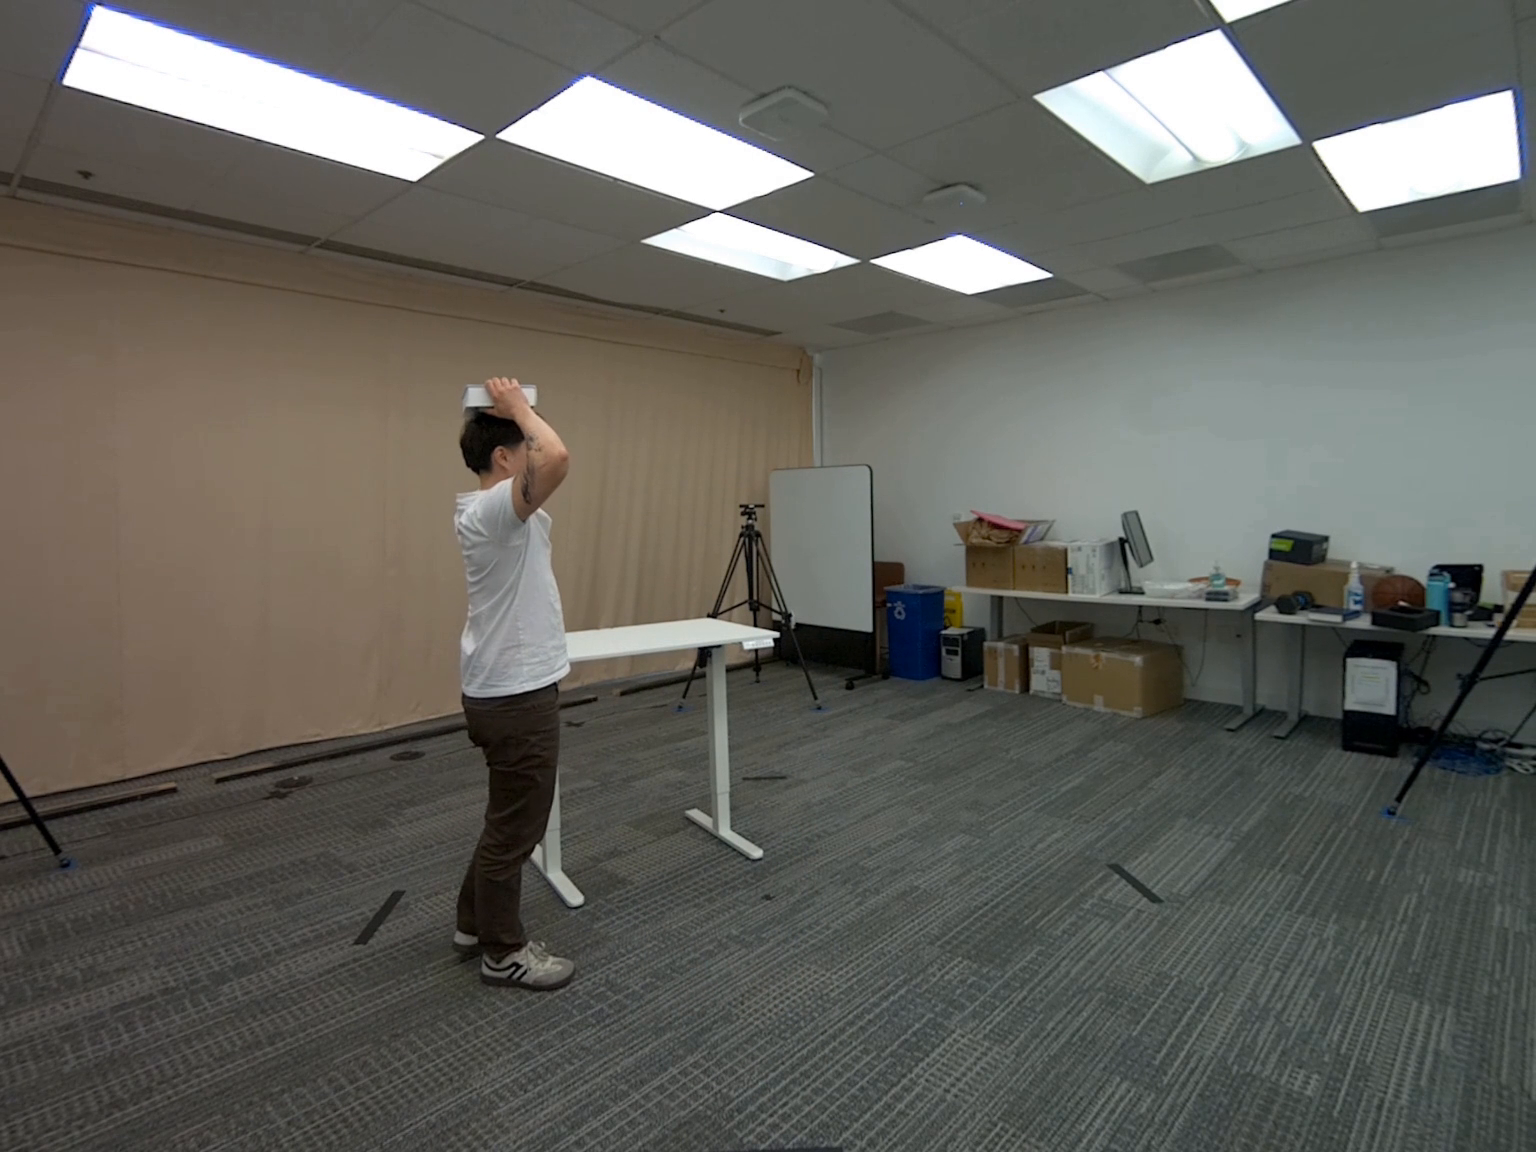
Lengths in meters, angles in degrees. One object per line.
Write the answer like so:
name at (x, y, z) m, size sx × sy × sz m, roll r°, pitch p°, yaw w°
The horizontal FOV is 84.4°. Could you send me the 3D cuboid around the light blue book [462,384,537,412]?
light blue book at (-0.775, -0.508, 2.410) m, size 0.188 × 0.059 × 0.267 m, roll -3°, pitch 6°, yaw -20°
